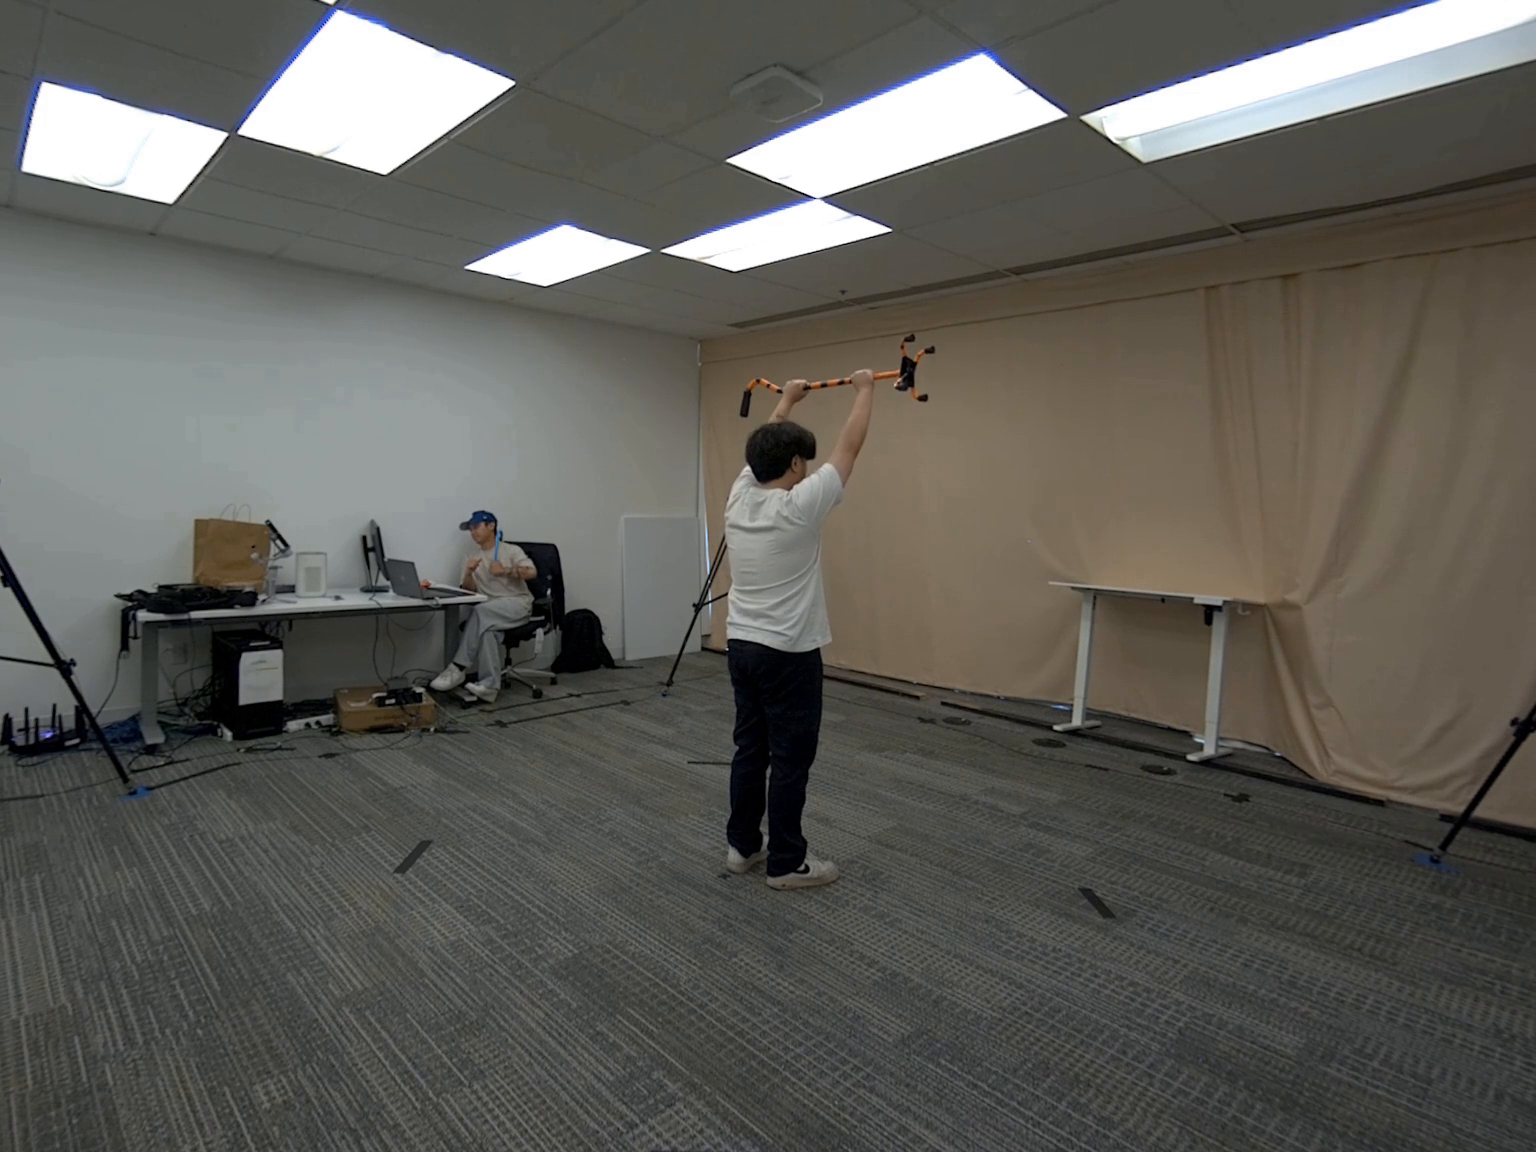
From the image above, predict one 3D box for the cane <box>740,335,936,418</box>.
[{"bbox_3d":[0.209,-0.750,3.273,0.147,0.207,0.931,15,-7,-42],"label":"cane"}]
